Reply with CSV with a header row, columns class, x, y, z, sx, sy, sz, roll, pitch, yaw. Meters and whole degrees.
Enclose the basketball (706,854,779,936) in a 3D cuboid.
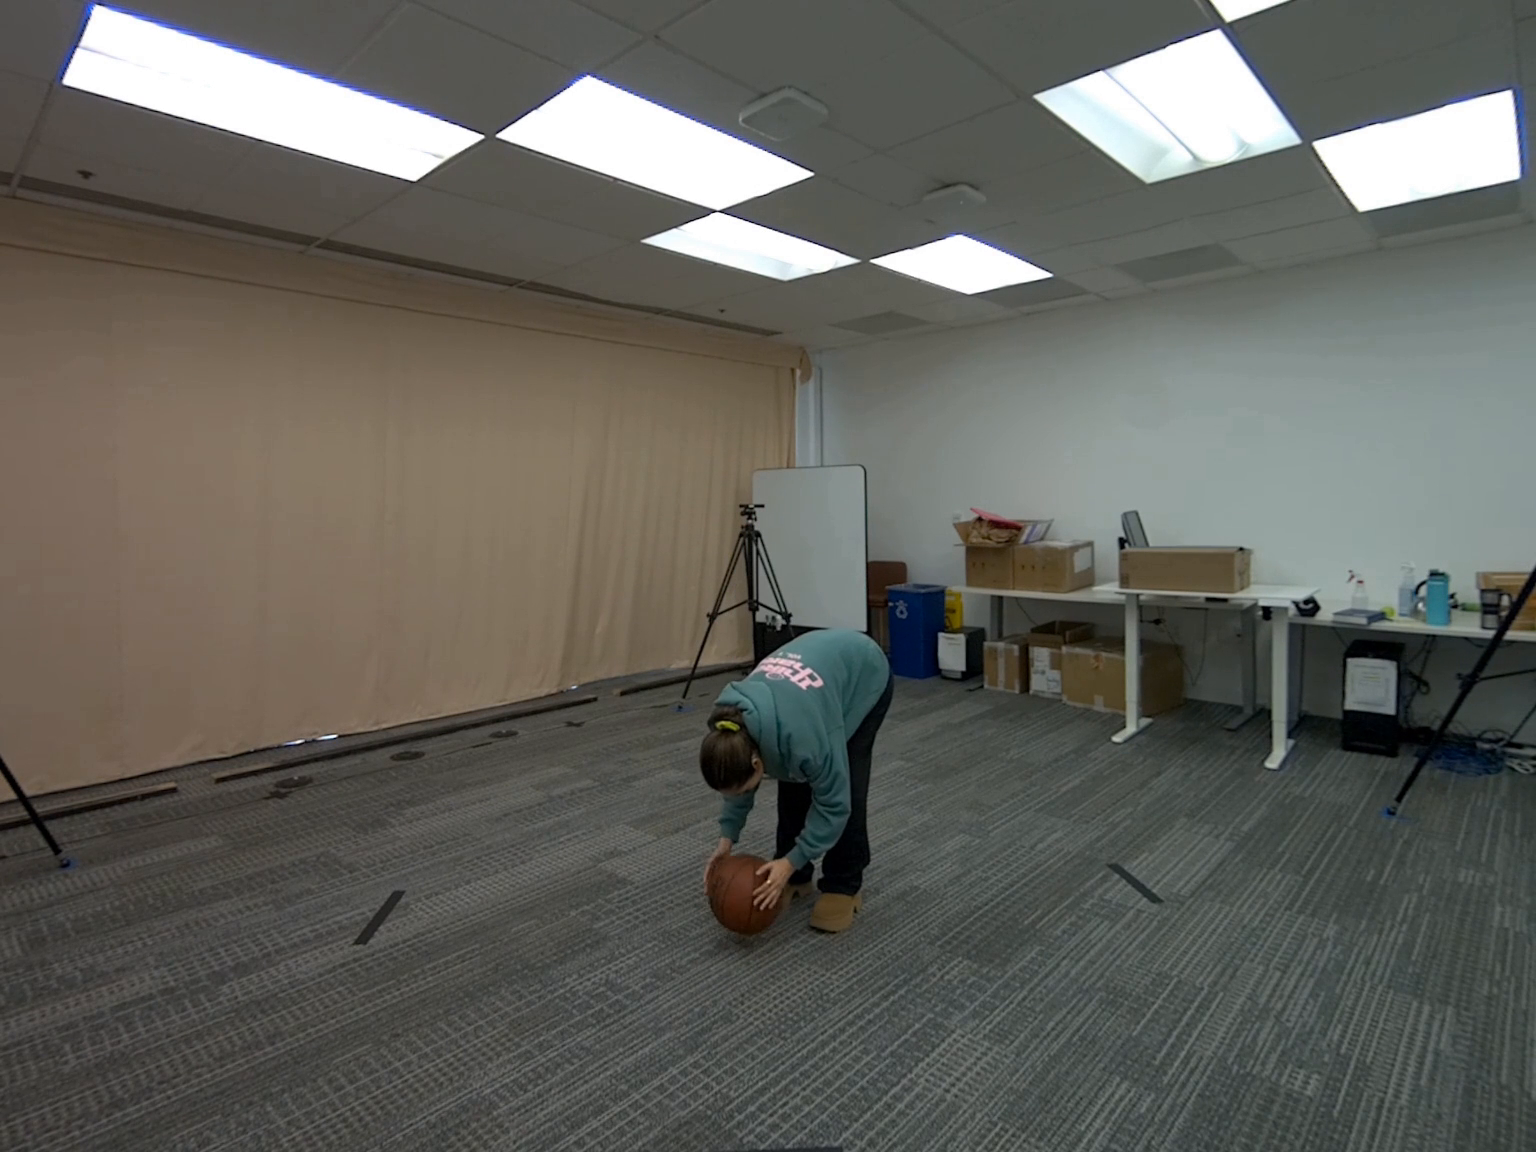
class,x,y,z,sx,sy,sz,roll,pitch,yaw
basketball,-0.062,0.979,2.642,0.236,0.235,0.237,-1,4,-2
